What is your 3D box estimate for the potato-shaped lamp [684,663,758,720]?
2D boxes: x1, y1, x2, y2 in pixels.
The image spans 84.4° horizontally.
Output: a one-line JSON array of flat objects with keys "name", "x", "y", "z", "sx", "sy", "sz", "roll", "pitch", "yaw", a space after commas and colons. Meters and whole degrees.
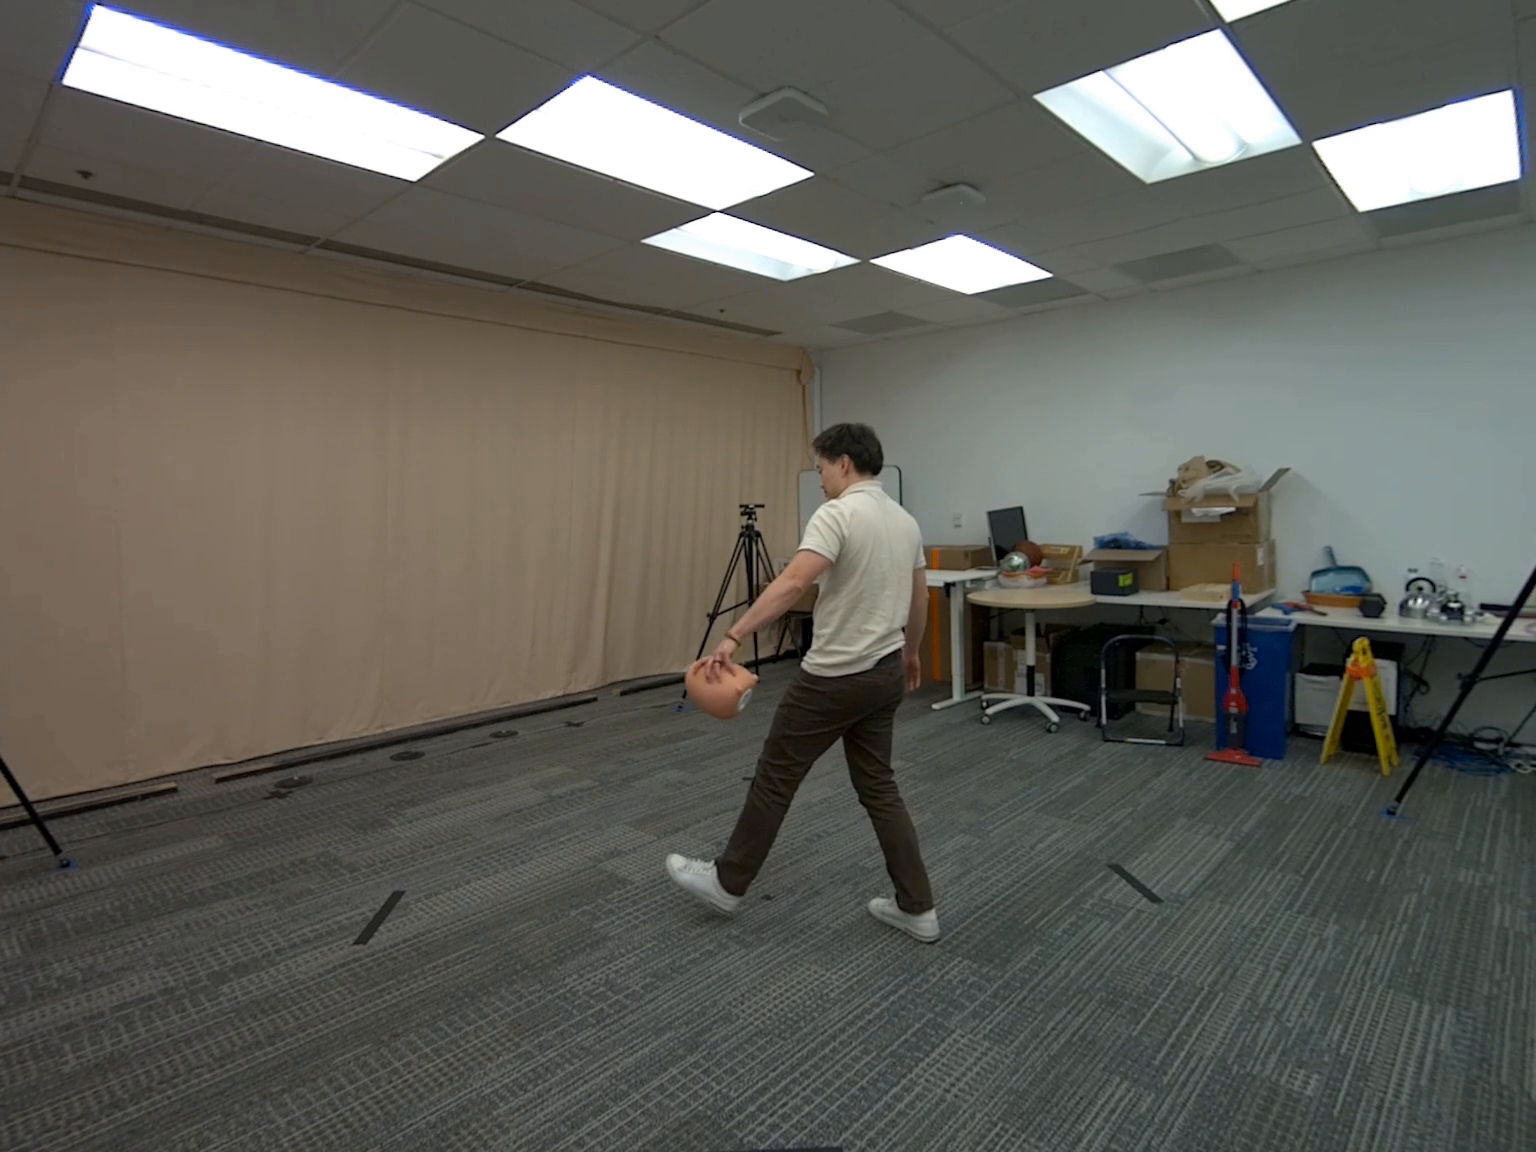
[{"name": "potato-shaped lamp", "x": -0.151, "y": 0.334, "z": 2.512, "sx": 0.202, "sy": 0.171, "sz": 0.162, "roll": 31, "pitch": 25, "yaw": 18}]
